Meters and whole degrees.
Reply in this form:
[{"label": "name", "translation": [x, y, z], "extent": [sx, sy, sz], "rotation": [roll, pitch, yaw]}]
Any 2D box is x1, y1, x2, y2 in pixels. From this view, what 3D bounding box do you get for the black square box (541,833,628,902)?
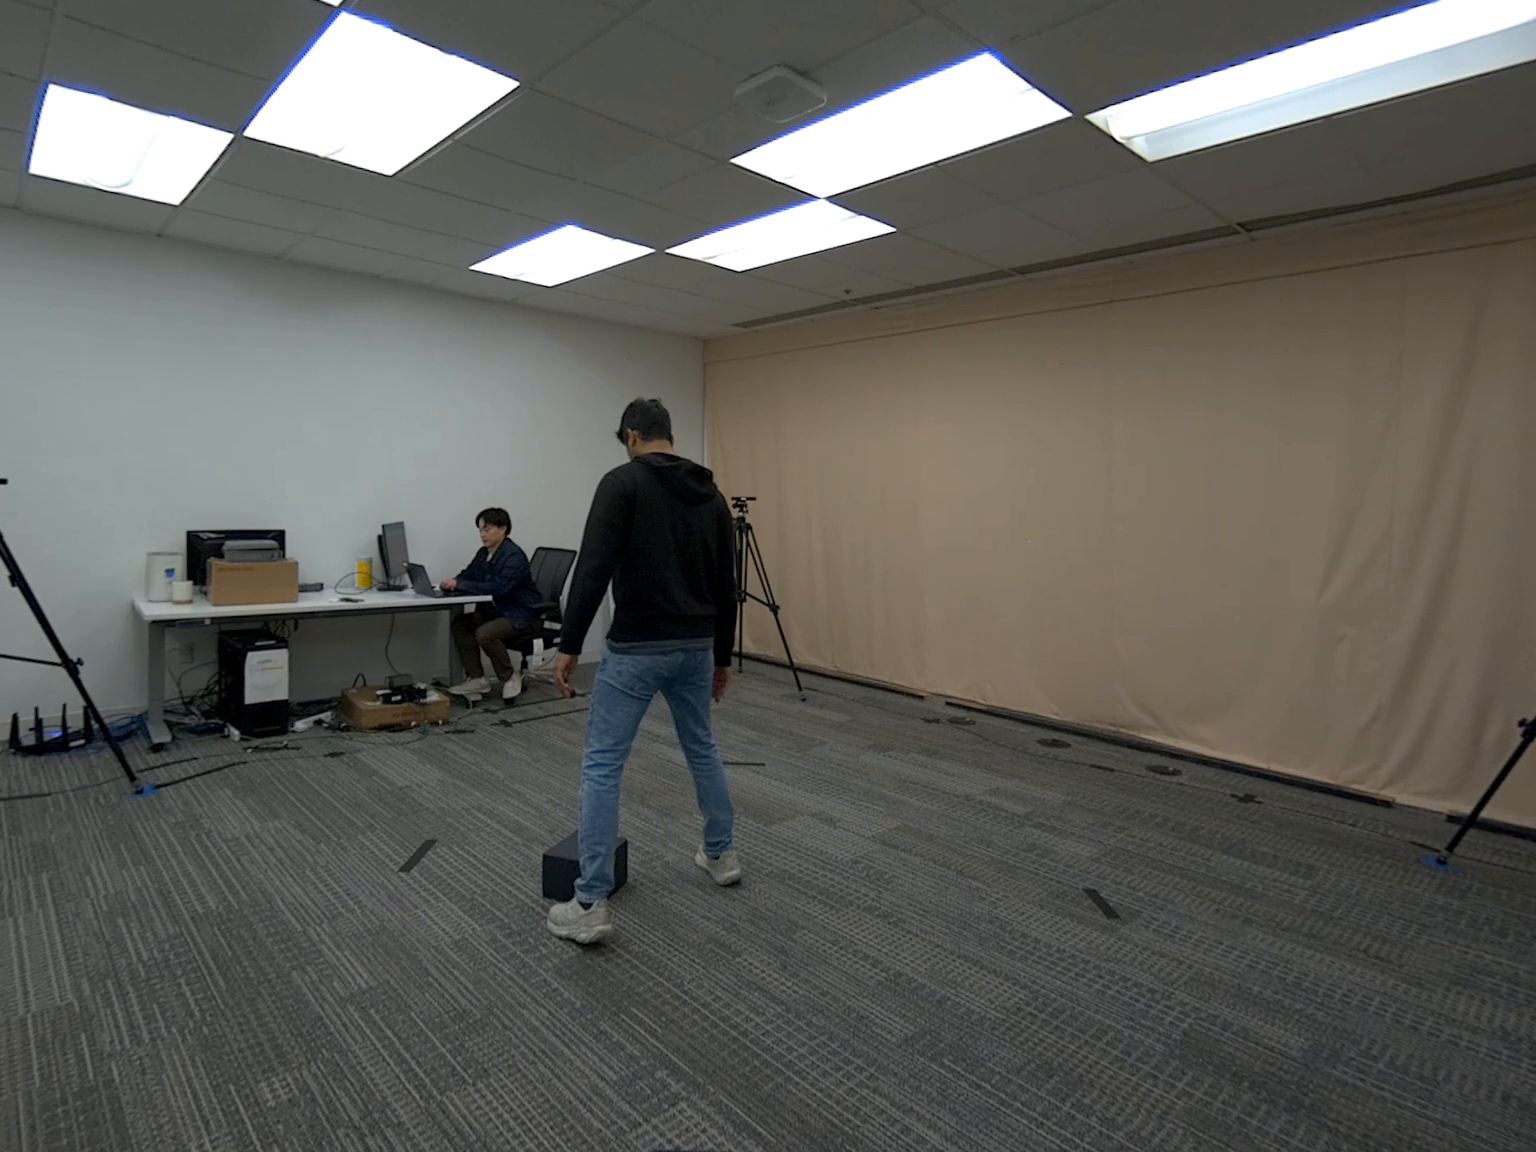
[{"label": "black square box", "translation": [-0.648, 1.029, 2.964], "extent": [0.220, 0.155, 0.225], "rotation": [3, 5, 18]}]
